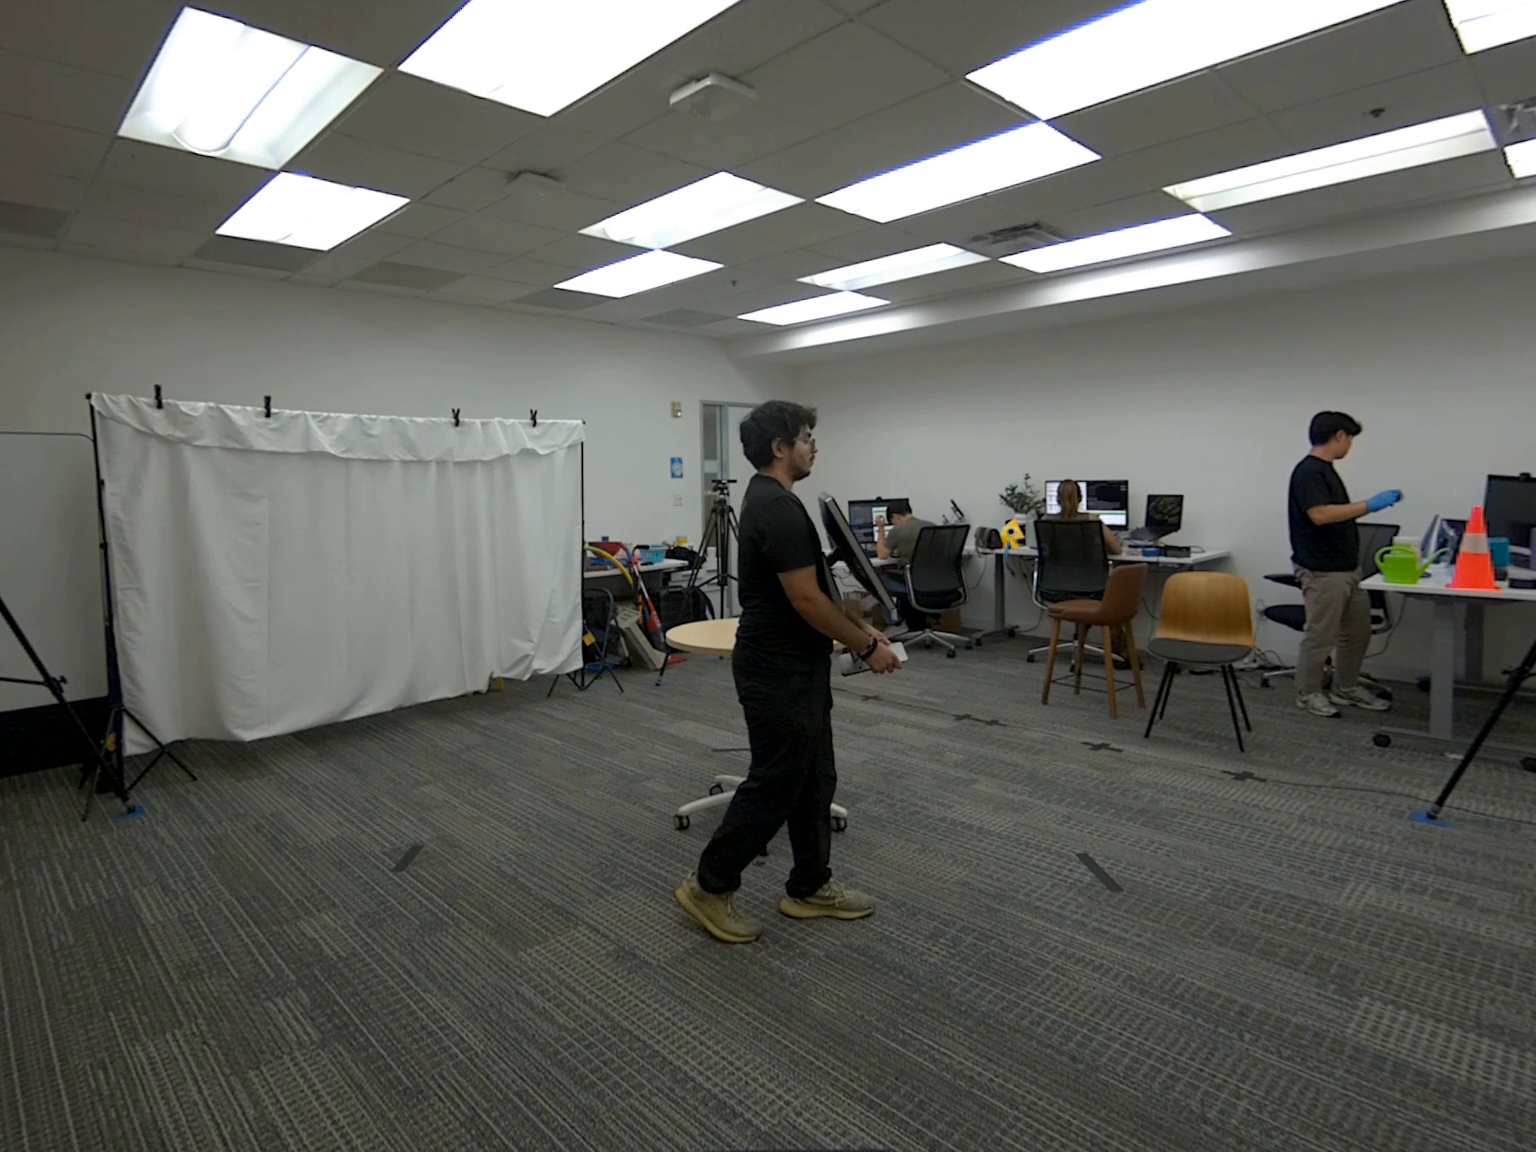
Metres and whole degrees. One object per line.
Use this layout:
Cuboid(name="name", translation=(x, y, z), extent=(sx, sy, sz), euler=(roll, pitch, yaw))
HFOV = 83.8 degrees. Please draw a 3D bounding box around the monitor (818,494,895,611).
Cuboid(name="monitor", translation=(0.234, 0.019, 2.680), extent=(0.210, 0.551, 0.567), euler=(-23, 5, 4))
